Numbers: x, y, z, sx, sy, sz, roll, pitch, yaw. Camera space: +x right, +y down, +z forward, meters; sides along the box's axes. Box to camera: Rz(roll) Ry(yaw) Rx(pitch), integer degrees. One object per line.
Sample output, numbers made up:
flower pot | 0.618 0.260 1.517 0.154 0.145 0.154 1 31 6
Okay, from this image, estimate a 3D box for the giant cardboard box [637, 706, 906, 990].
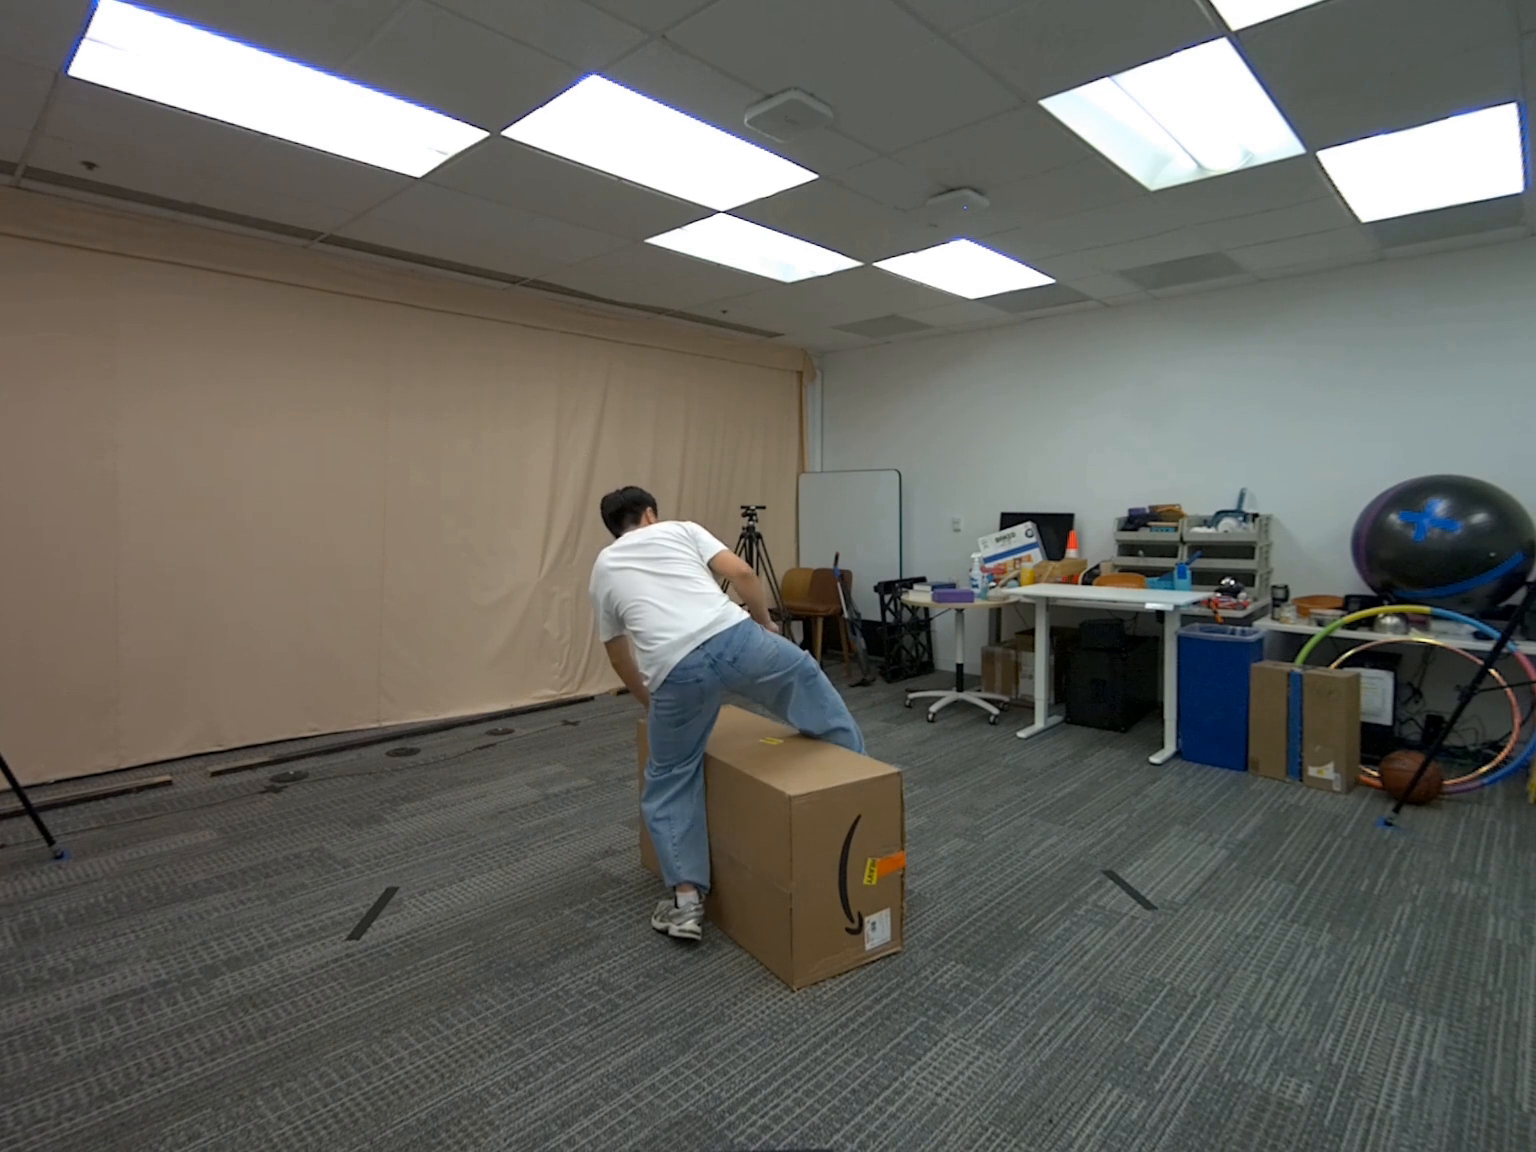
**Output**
giant cardboard box | -0.036 0.860 2.938 0.415 0.576 1.057 -4 5 -32
